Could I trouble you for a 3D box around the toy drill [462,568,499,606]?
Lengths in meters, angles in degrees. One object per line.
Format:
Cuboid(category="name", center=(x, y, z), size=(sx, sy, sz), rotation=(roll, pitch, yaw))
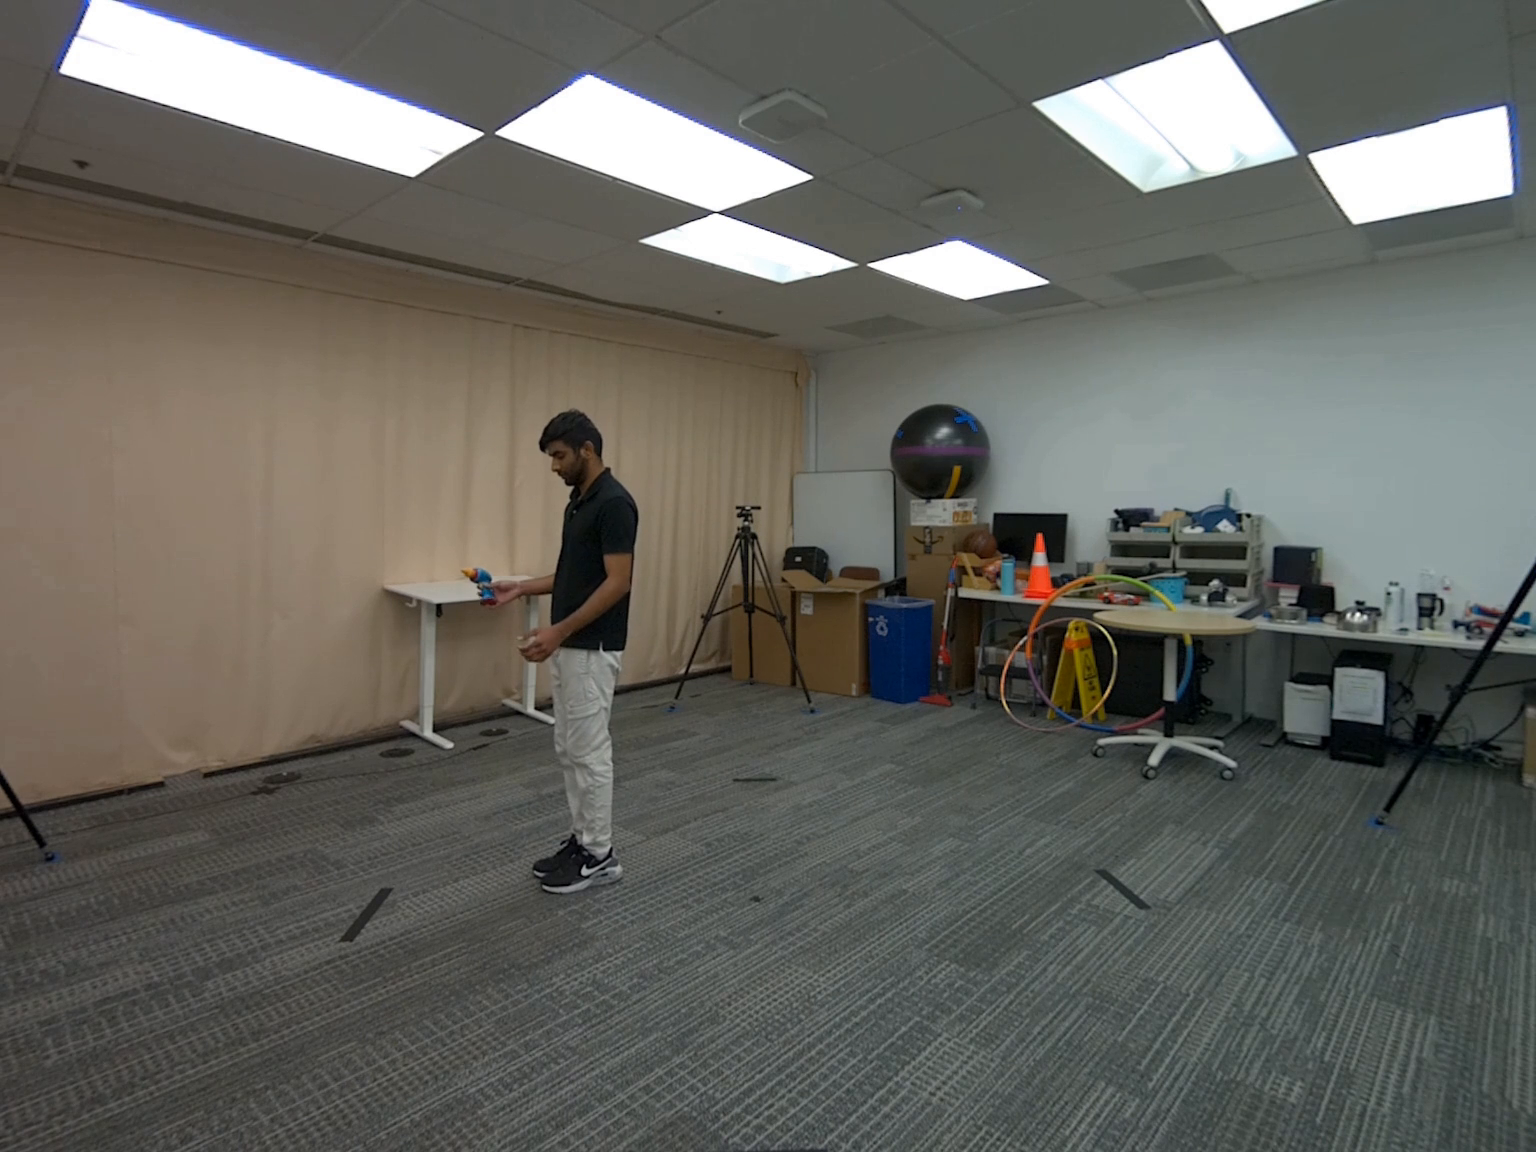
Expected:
Cuboid(category="toy drill", center=(-1.099, 0.021, 3.199), size=(0.061, 0.149, 0.165), rotation=(-28, -24, 11))
